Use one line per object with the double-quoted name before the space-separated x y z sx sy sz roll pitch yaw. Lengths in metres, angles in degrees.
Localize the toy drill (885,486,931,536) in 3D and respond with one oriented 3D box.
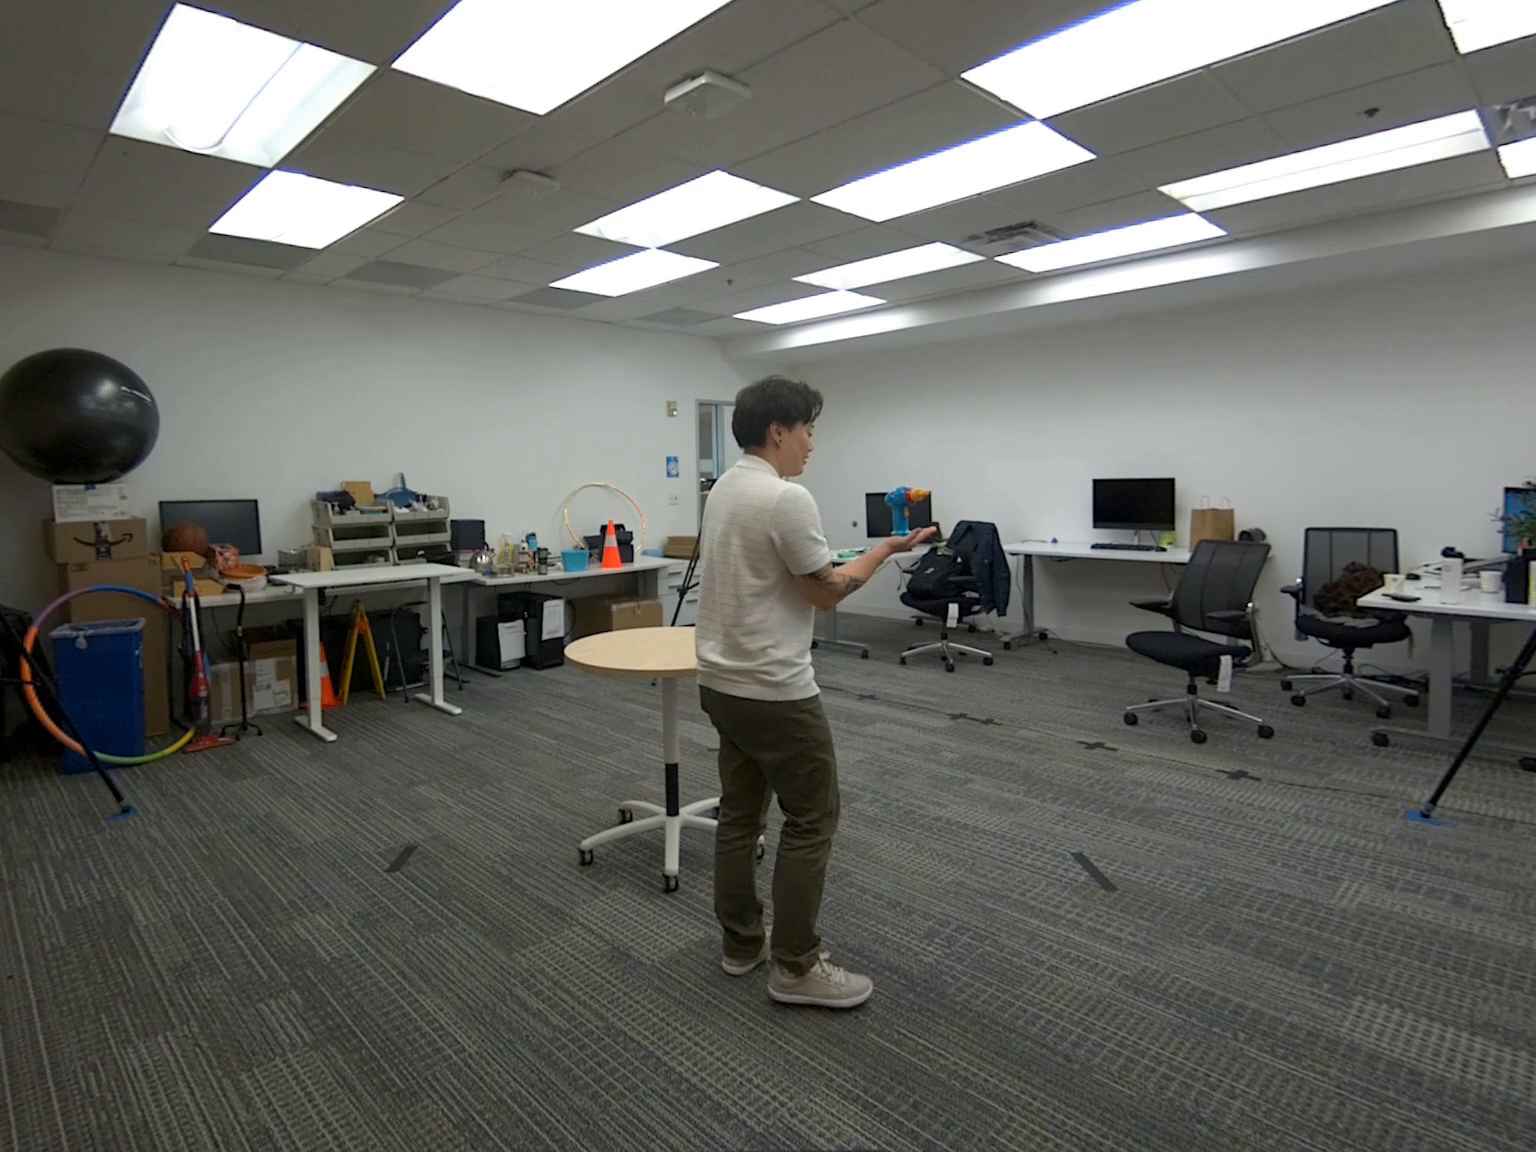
"toy drill" 0.393 -0.180 2.345 0.059 0.146 0.173 -1 -3 -32
